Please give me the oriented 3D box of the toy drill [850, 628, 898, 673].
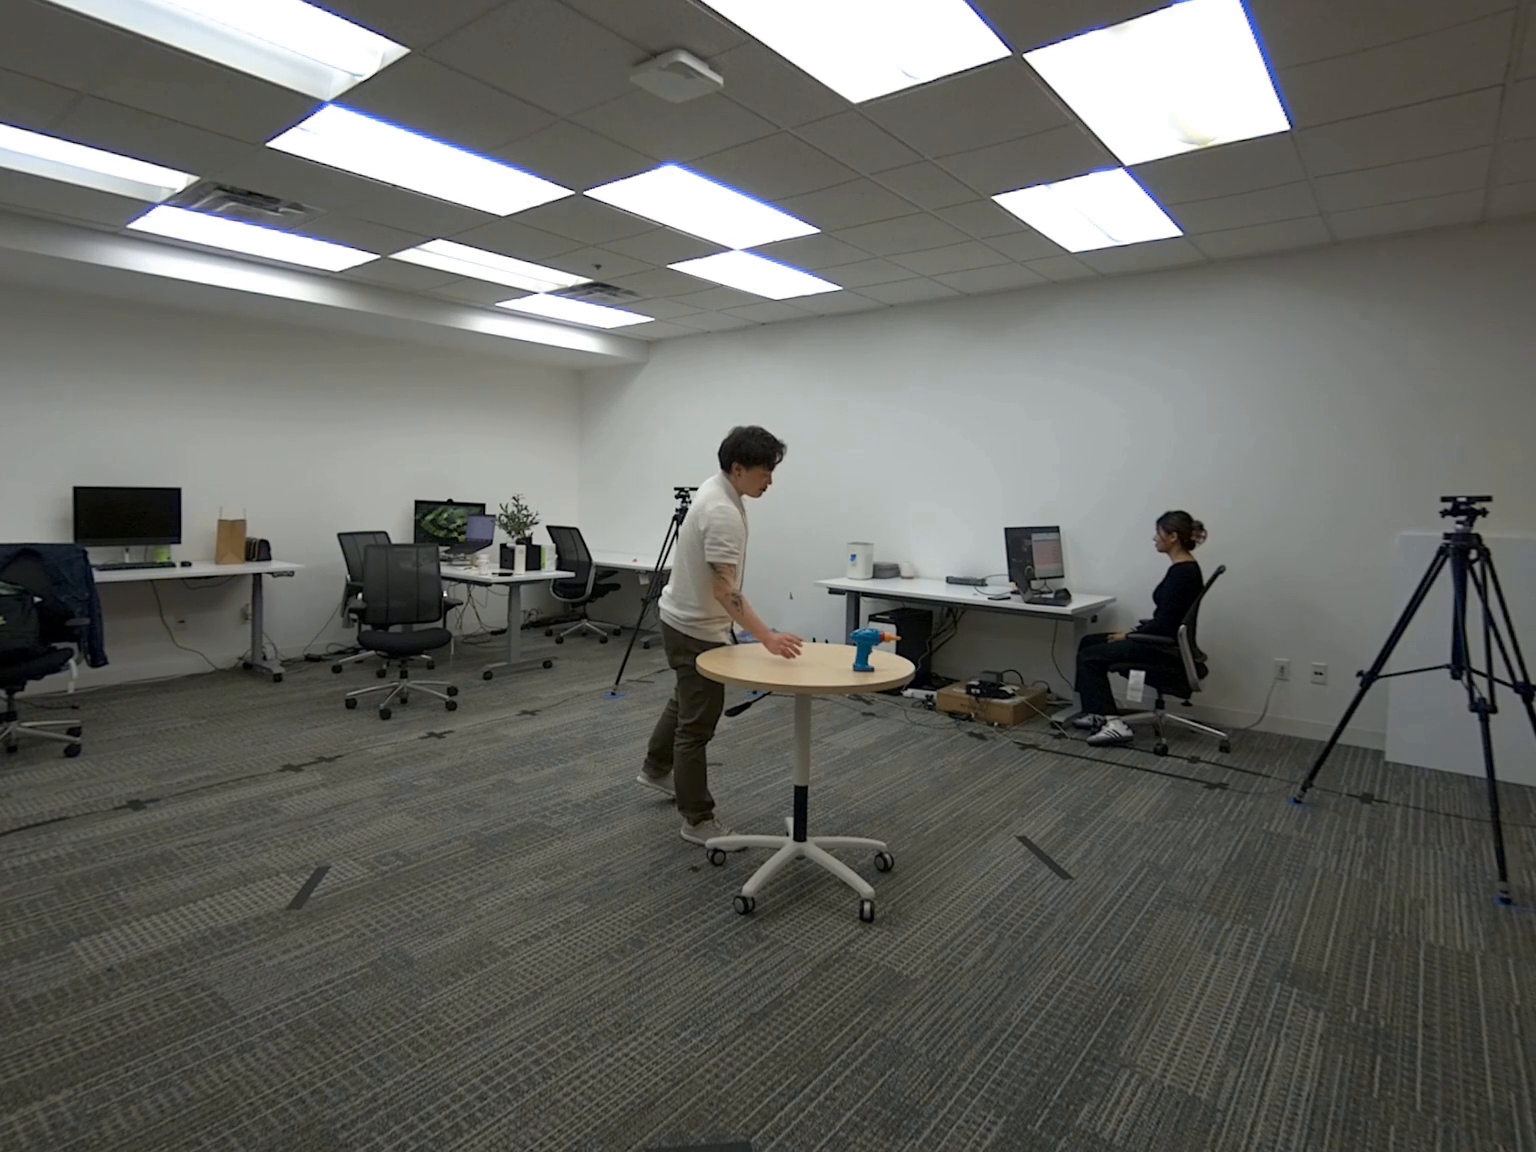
[{"bbox_3d":[0.348,0.241,2.868,0.169,0.146,0.061,1,2,-3],"label":"toy drill"}]
